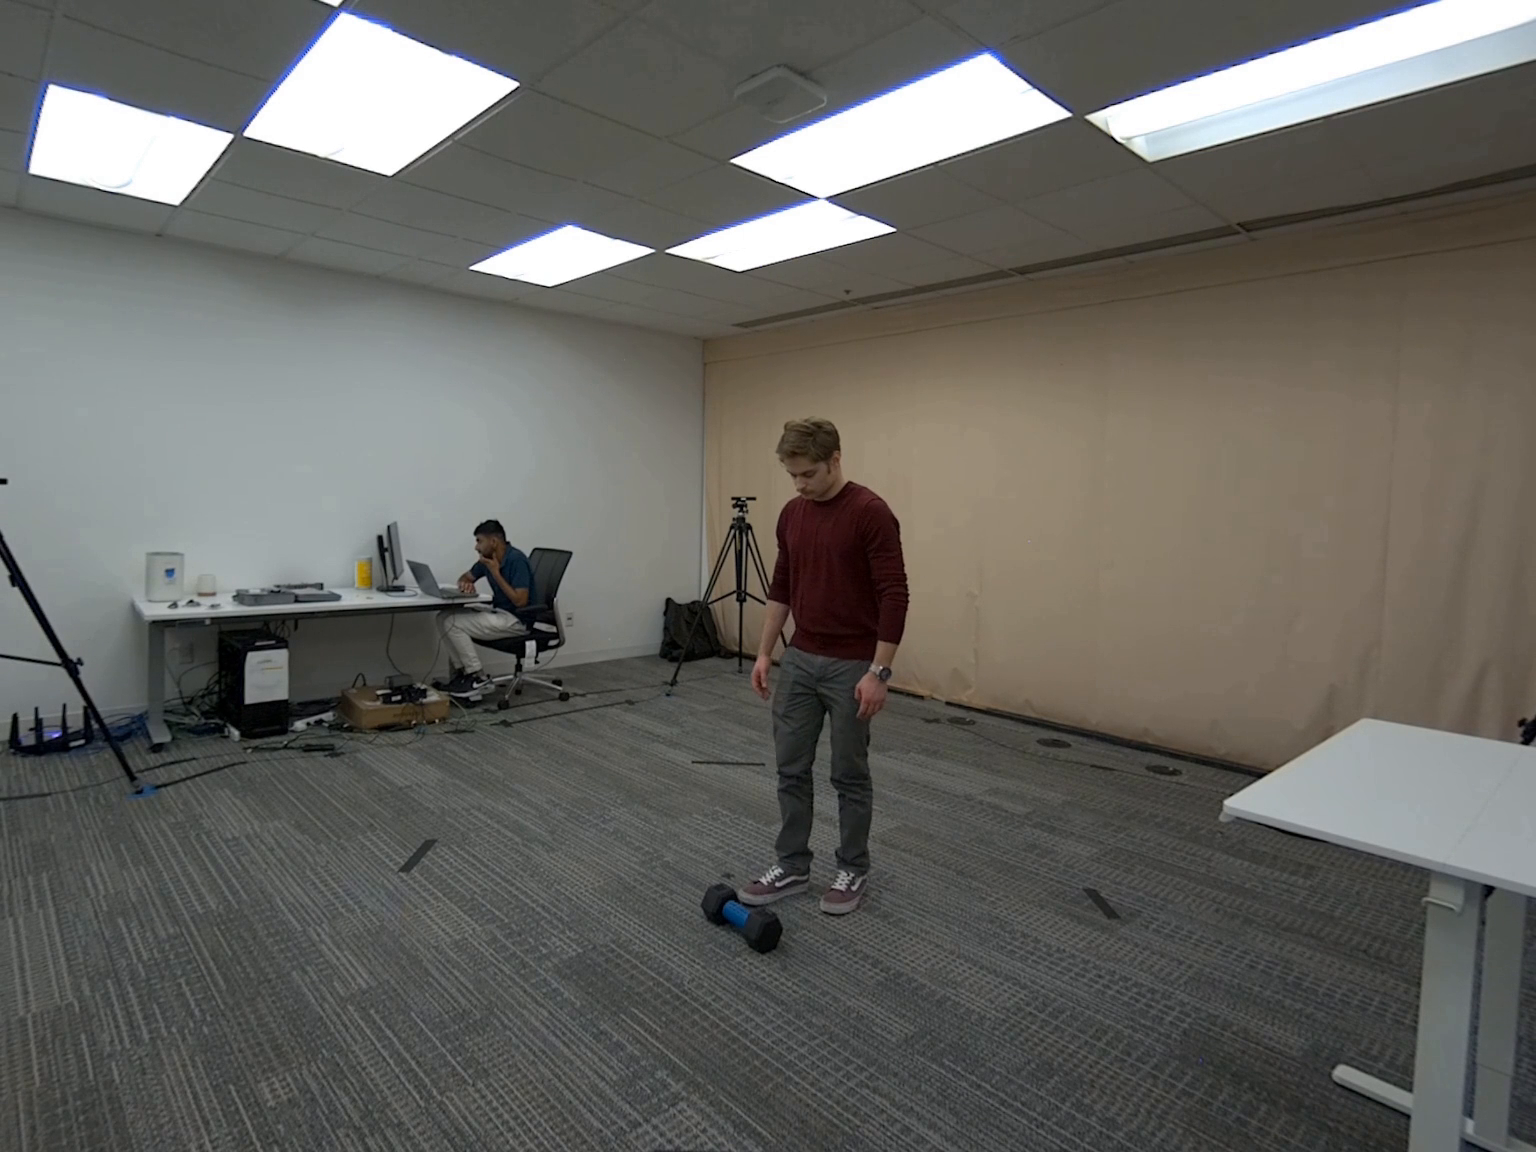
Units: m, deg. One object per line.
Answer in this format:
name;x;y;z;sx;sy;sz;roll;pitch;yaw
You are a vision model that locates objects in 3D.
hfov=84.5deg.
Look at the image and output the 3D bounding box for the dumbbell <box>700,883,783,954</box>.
dumbbell;-0.092;1.094;2.691;0.108;0.120;0.301;-37;26;-30
